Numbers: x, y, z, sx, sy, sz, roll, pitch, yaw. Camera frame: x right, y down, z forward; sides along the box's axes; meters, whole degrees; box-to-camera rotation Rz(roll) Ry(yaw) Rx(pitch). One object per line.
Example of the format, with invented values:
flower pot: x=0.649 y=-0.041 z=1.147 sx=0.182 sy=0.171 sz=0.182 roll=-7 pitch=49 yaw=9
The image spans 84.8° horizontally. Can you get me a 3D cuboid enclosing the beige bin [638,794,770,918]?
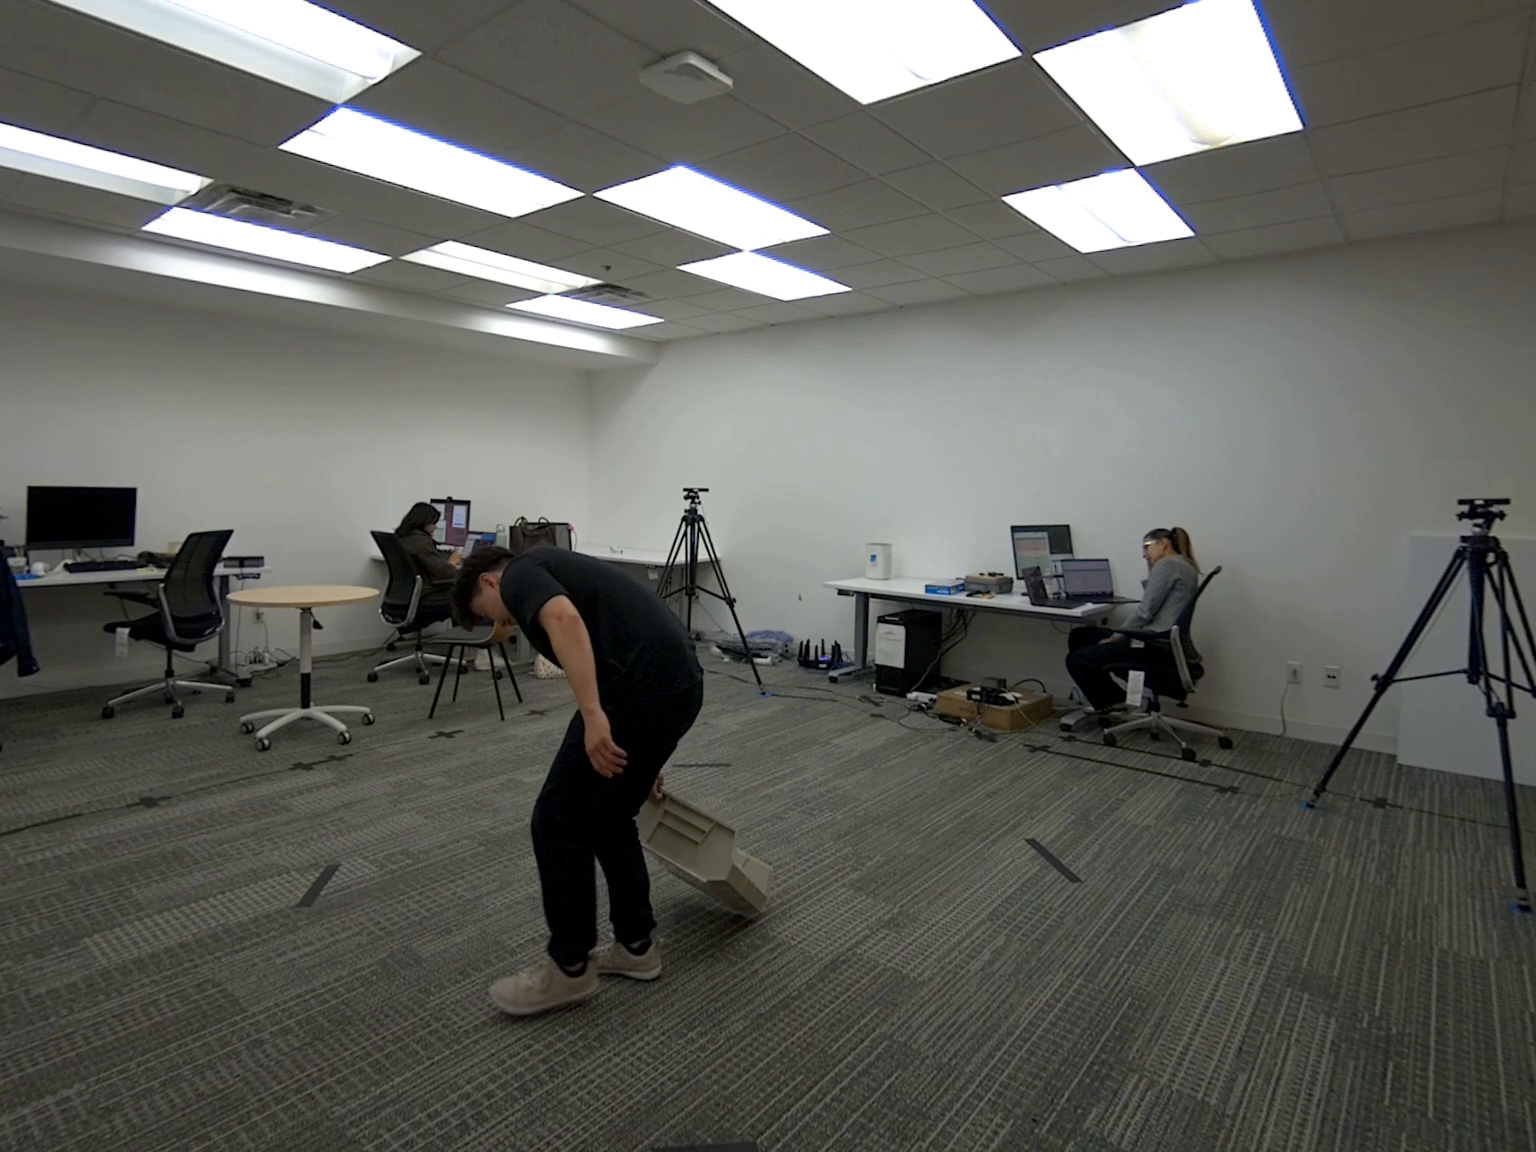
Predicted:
beige bin: x=-0.213 y=0.888 z=2.714 sx=0.390 sy=0.190 sz=0.406 roll=17 pitch=-25 yaw=29
